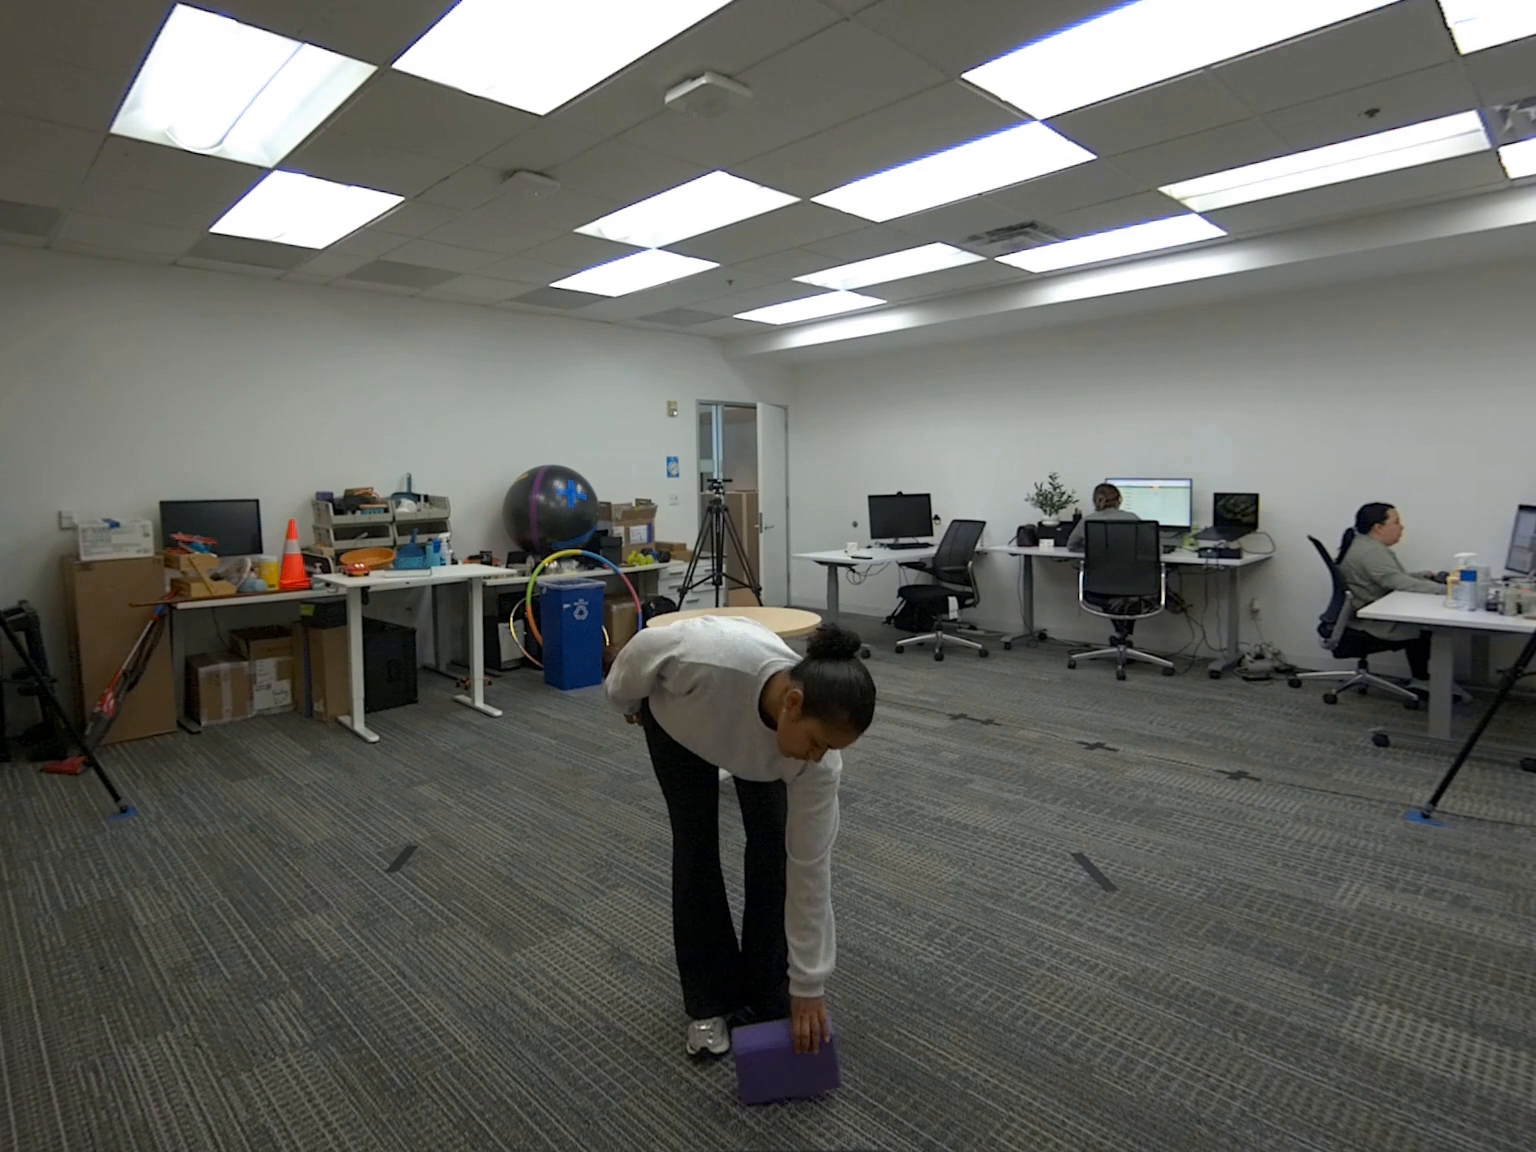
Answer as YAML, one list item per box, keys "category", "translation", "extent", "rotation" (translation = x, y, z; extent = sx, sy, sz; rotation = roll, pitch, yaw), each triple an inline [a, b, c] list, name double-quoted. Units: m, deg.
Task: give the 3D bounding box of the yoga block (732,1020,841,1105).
- category: "yoga block"
  translation: [0.044, 1.074, 1.924]
  extent: [0.228, 0.147, 0.077]
  rotation: [-5, 10, -5]
